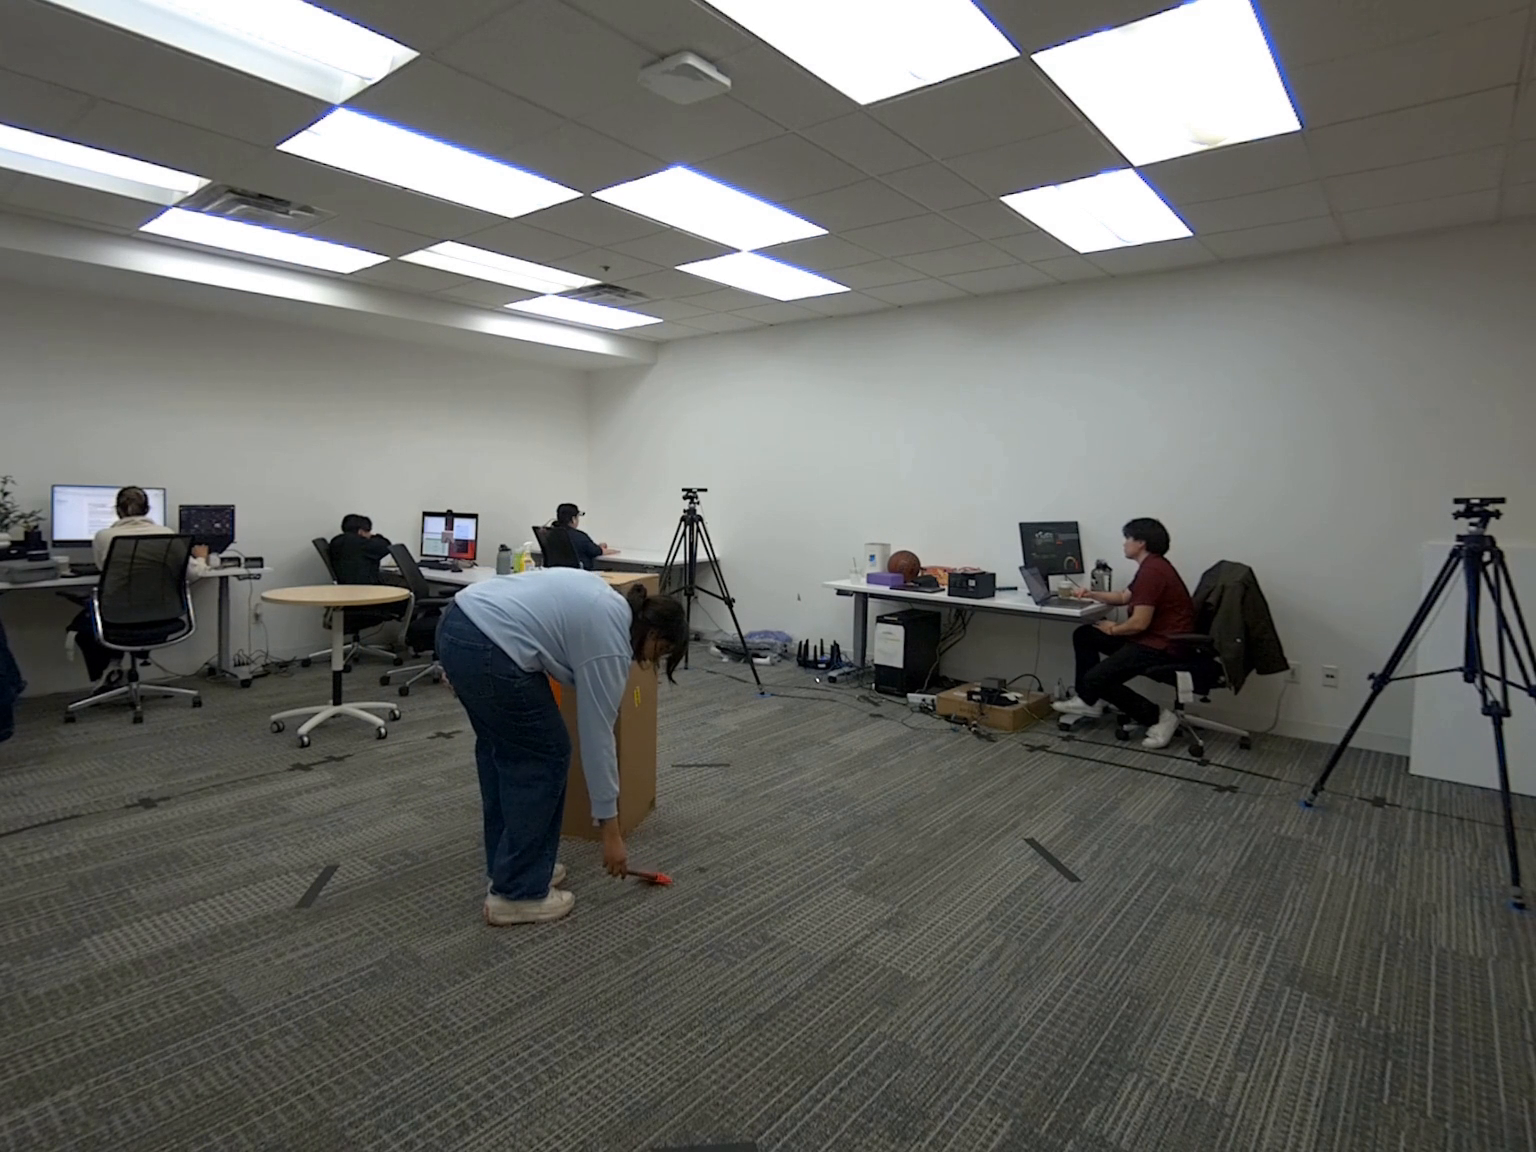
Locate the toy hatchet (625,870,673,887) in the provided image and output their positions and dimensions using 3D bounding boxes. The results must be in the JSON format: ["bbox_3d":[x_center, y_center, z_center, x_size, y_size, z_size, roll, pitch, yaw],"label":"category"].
[{"bbox_3d":[-0.469,1.027,2.928,0.135,0.030,0.259,-5,-25,45],"label":"toy hatchet"}]
